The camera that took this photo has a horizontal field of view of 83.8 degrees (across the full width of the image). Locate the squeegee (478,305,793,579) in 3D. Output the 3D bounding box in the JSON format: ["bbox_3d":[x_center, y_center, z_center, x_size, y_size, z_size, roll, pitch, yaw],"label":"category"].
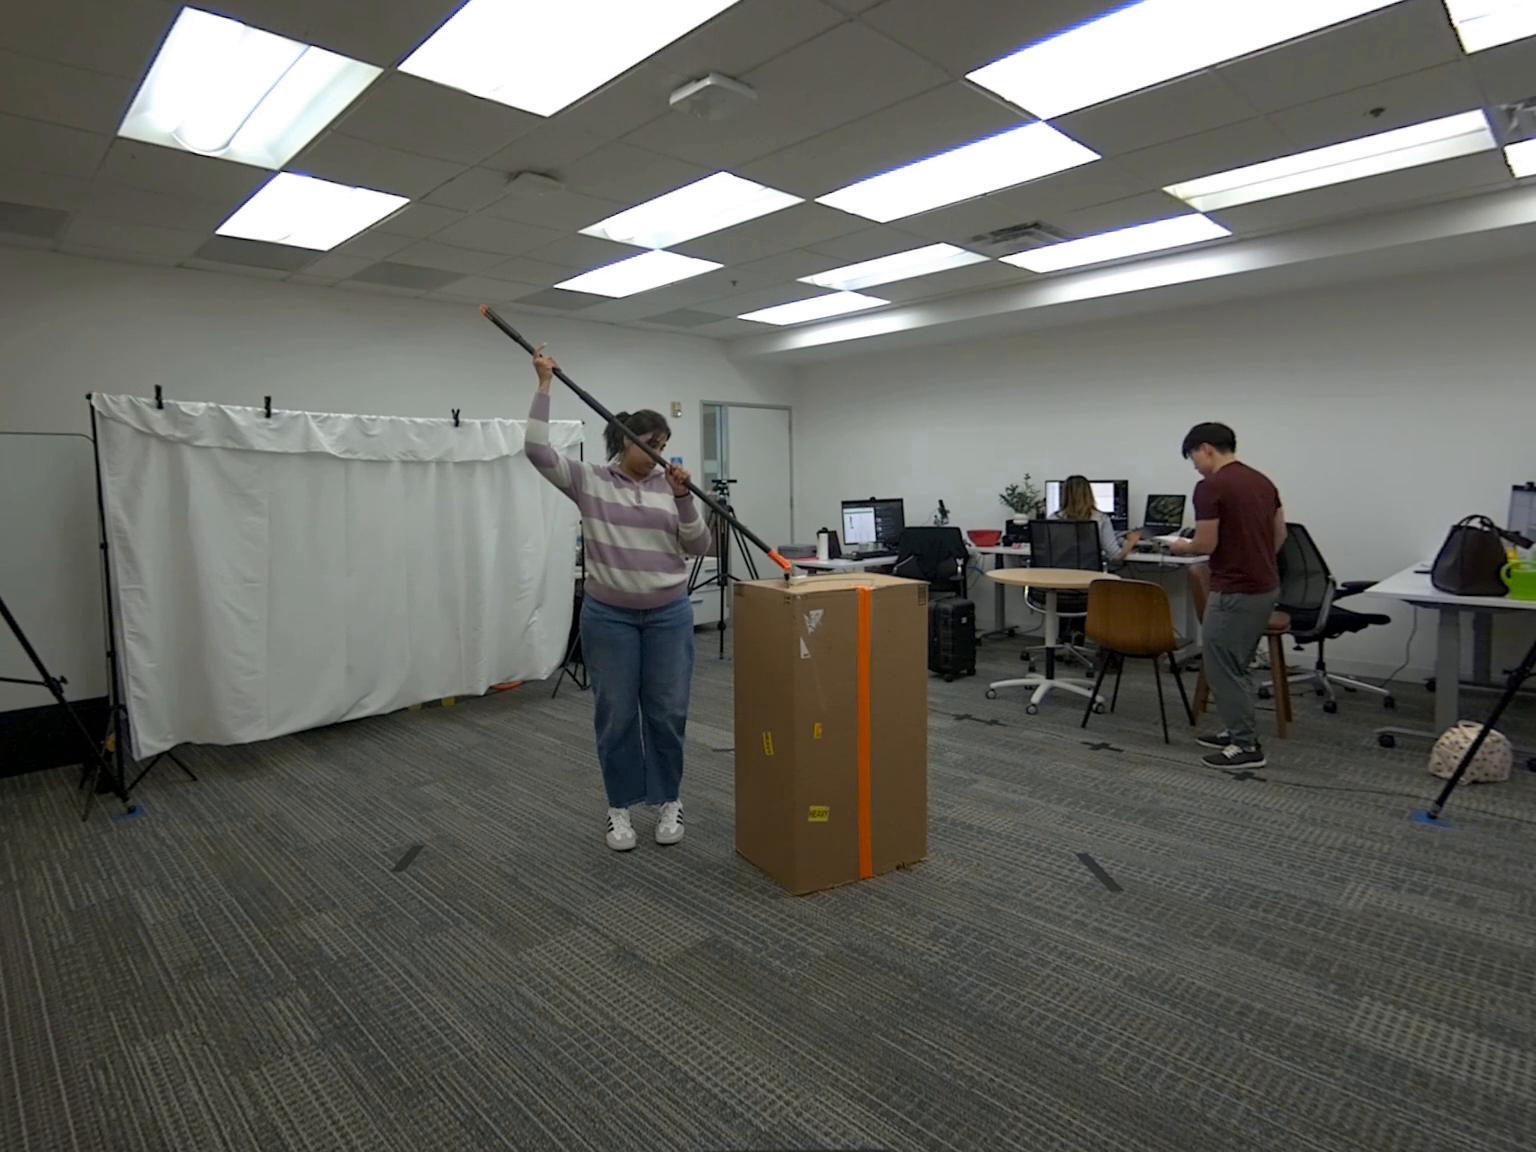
[{"bbox_3d":[-0.490,-0.499,3.139,1.543,0.053,0.436,42,1,2],"label":"squeegee"}]
